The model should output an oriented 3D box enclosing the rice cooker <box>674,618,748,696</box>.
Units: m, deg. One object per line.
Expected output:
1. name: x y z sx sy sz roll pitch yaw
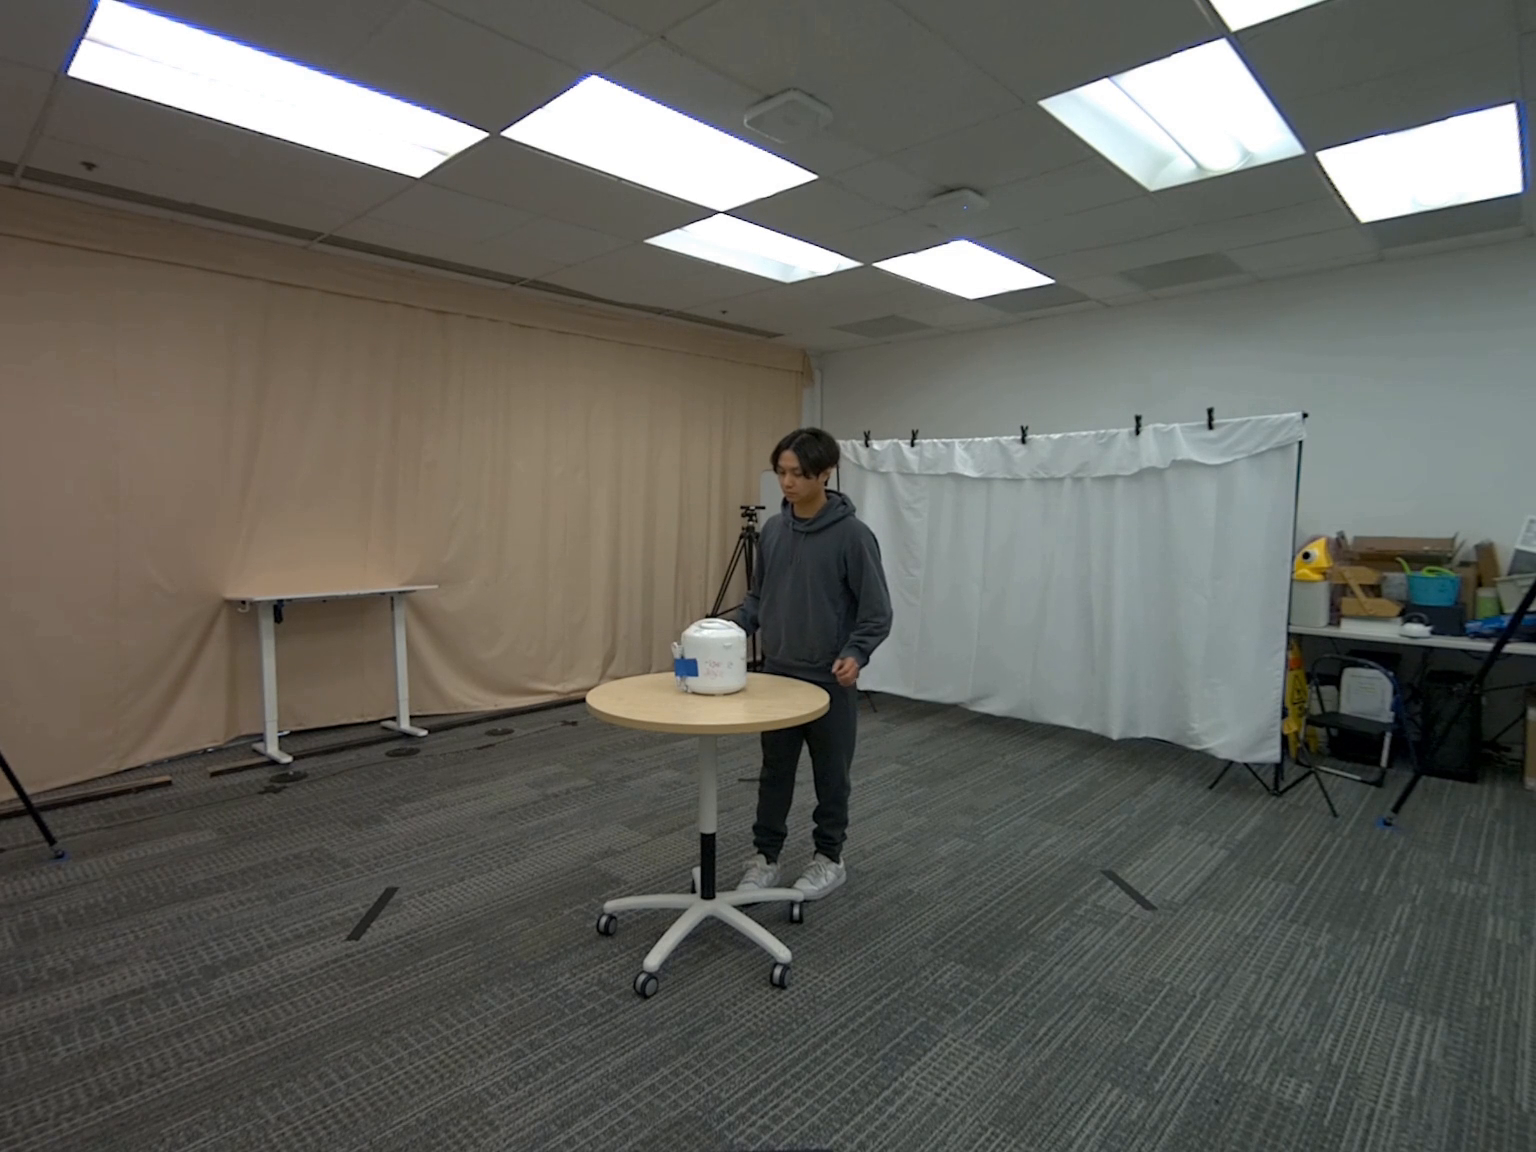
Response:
1. rice cooker: -0.175 0.255 2.722 0.226 0.232 0.212 1 4 26
